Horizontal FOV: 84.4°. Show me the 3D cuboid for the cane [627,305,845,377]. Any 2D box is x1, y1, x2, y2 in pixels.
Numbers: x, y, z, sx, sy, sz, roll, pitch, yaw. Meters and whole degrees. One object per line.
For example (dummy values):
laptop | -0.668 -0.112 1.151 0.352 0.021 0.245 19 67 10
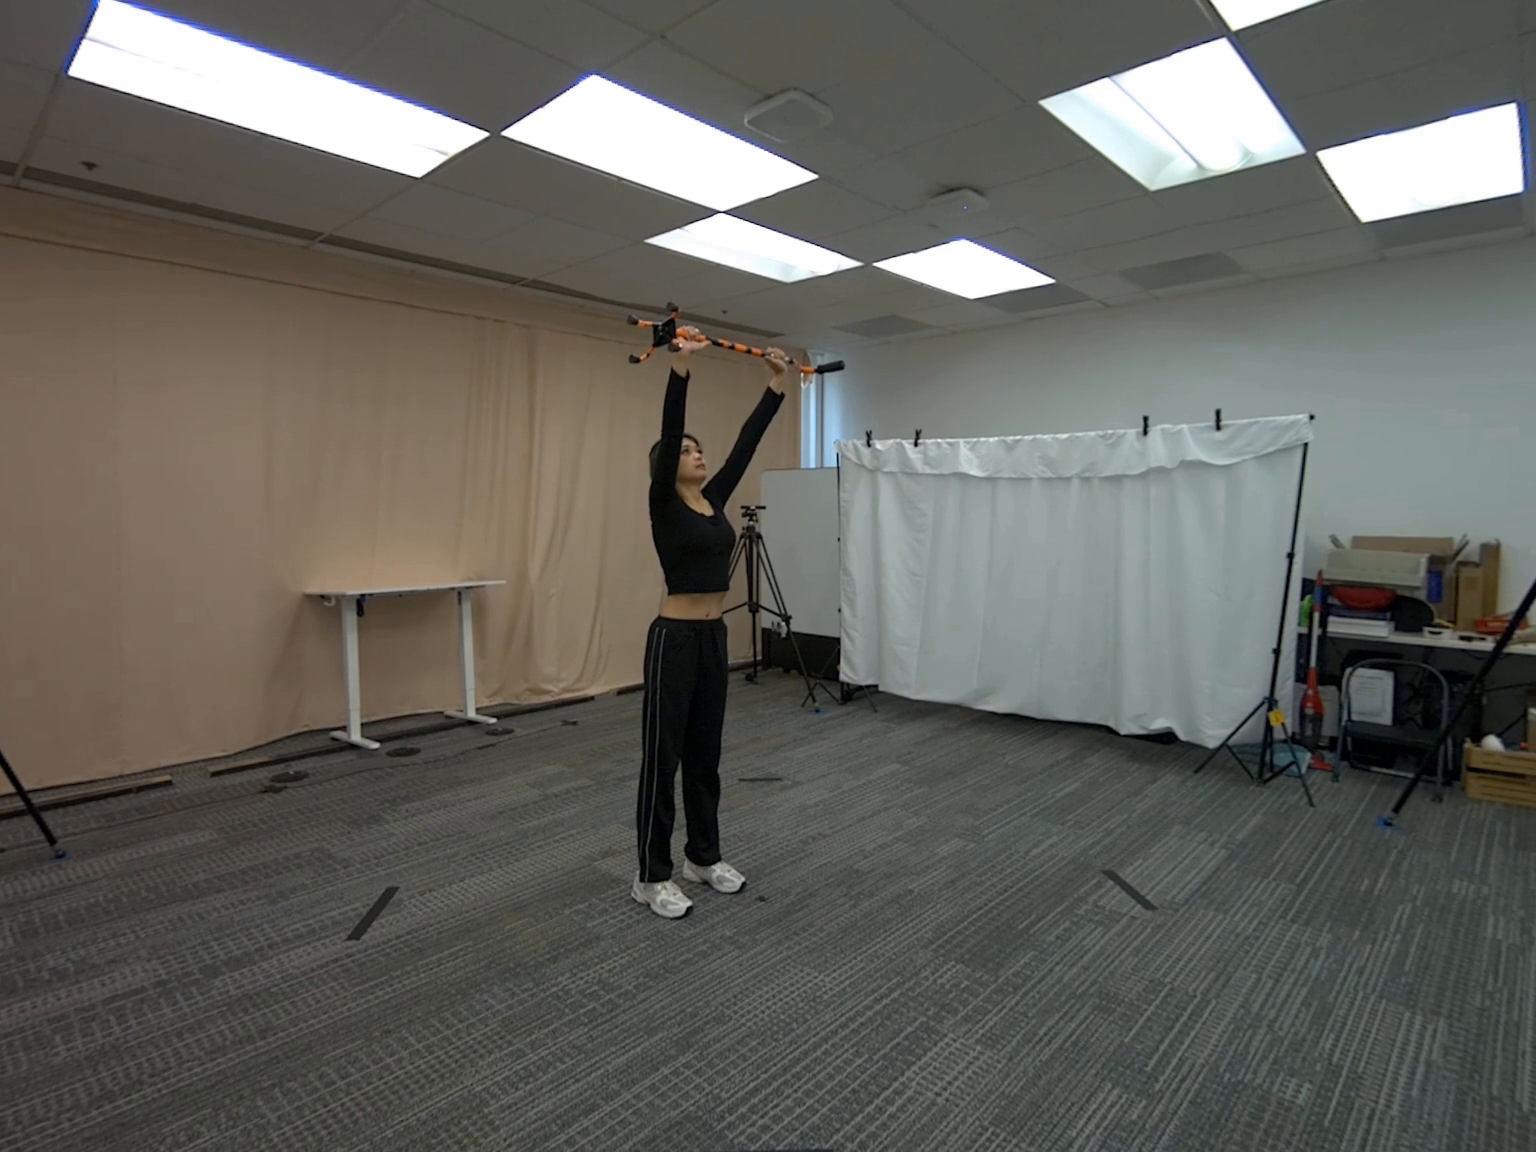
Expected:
cane | -0.068 -0.762 2.894 0.213 0.151 0.880 -1 2 42
